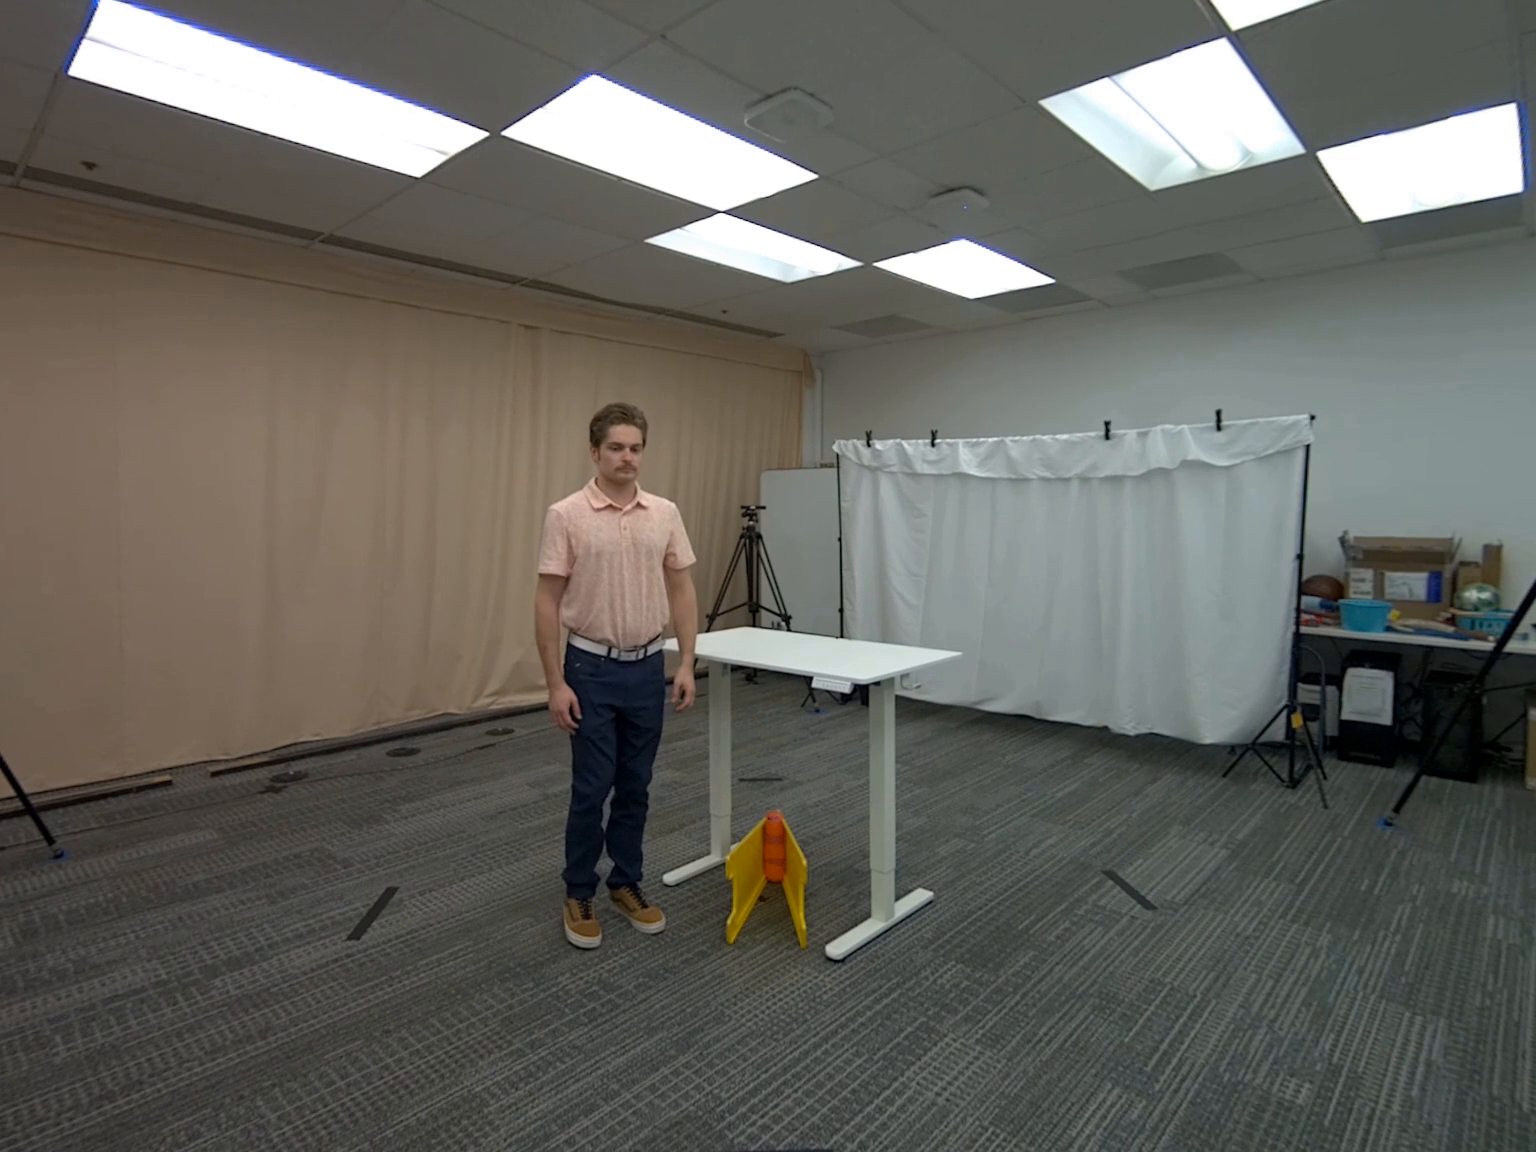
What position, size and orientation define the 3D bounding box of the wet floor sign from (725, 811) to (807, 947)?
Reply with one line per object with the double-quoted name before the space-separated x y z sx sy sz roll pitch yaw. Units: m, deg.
"wet floor sign" 0.015 1.016 2.972 0.292 0.282 0.641 0 1 5
